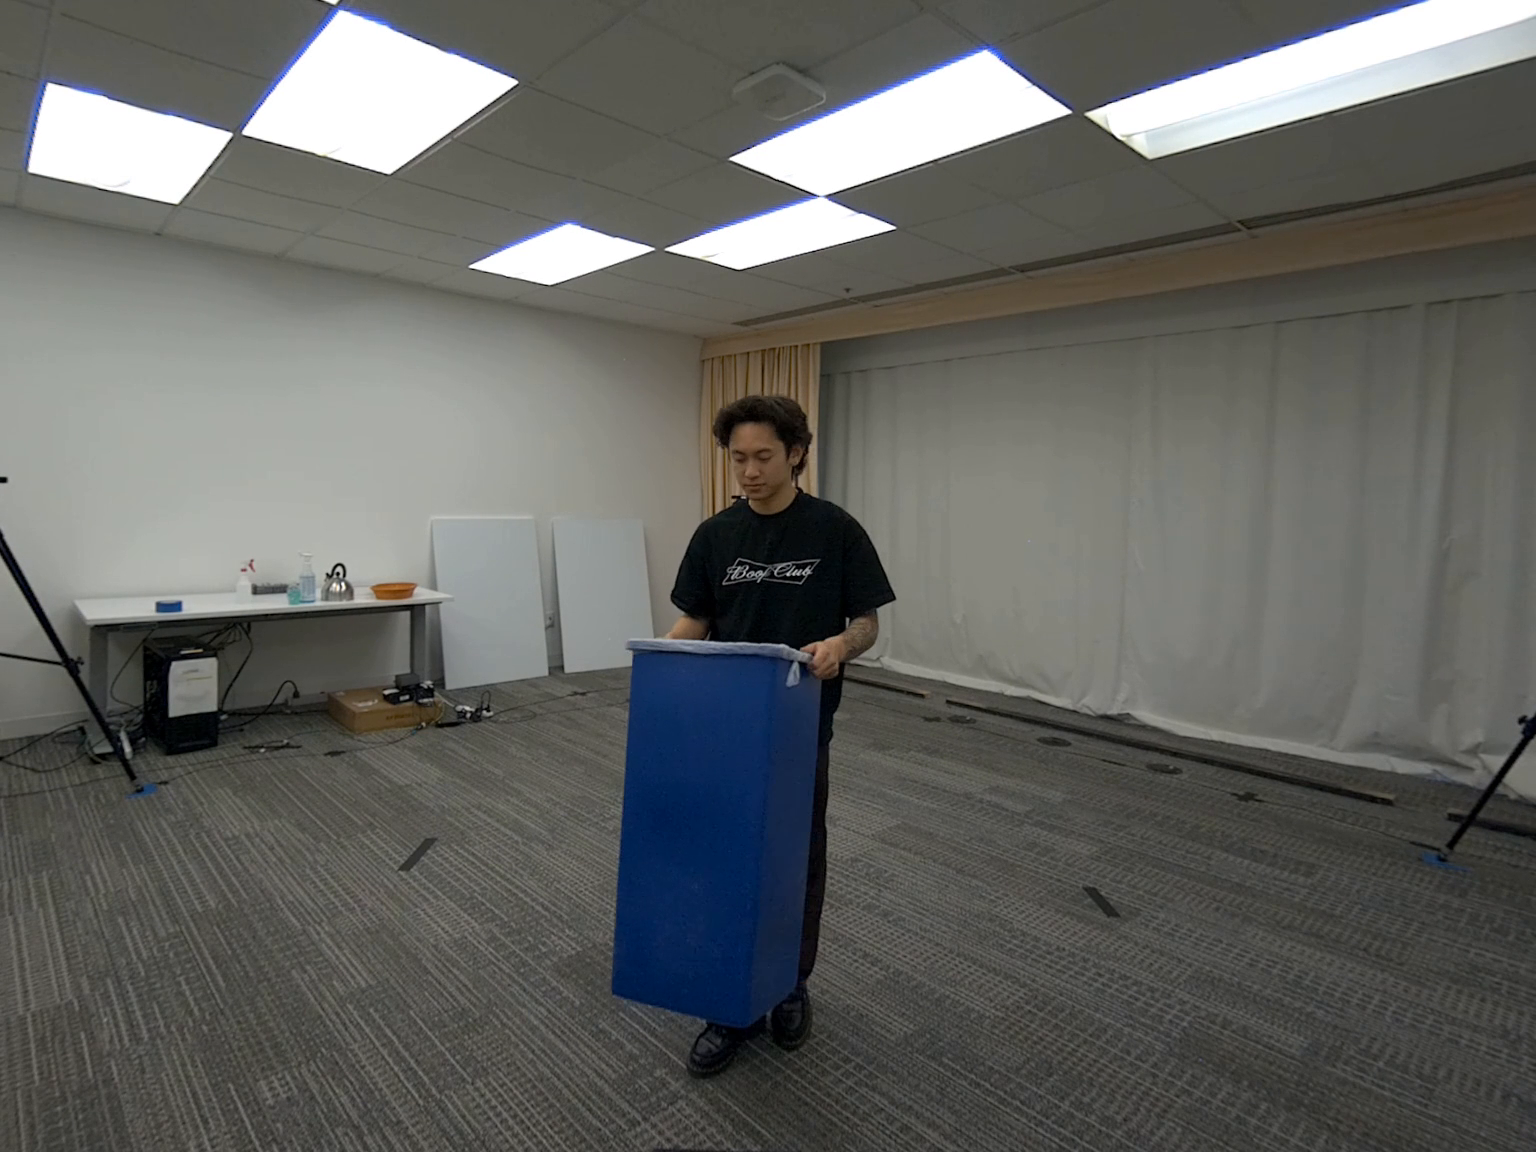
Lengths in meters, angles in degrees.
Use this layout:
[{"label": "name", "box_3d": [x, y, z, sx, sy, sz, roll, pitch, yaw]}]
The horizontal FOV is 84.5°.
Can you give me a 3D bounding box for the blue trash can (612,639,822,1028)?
[{"label": "blue trash can", "box_3d": [-0.121, 0.525, 1.824, 0.380, 0.719, 0.369, 0, -11, 23]}]
